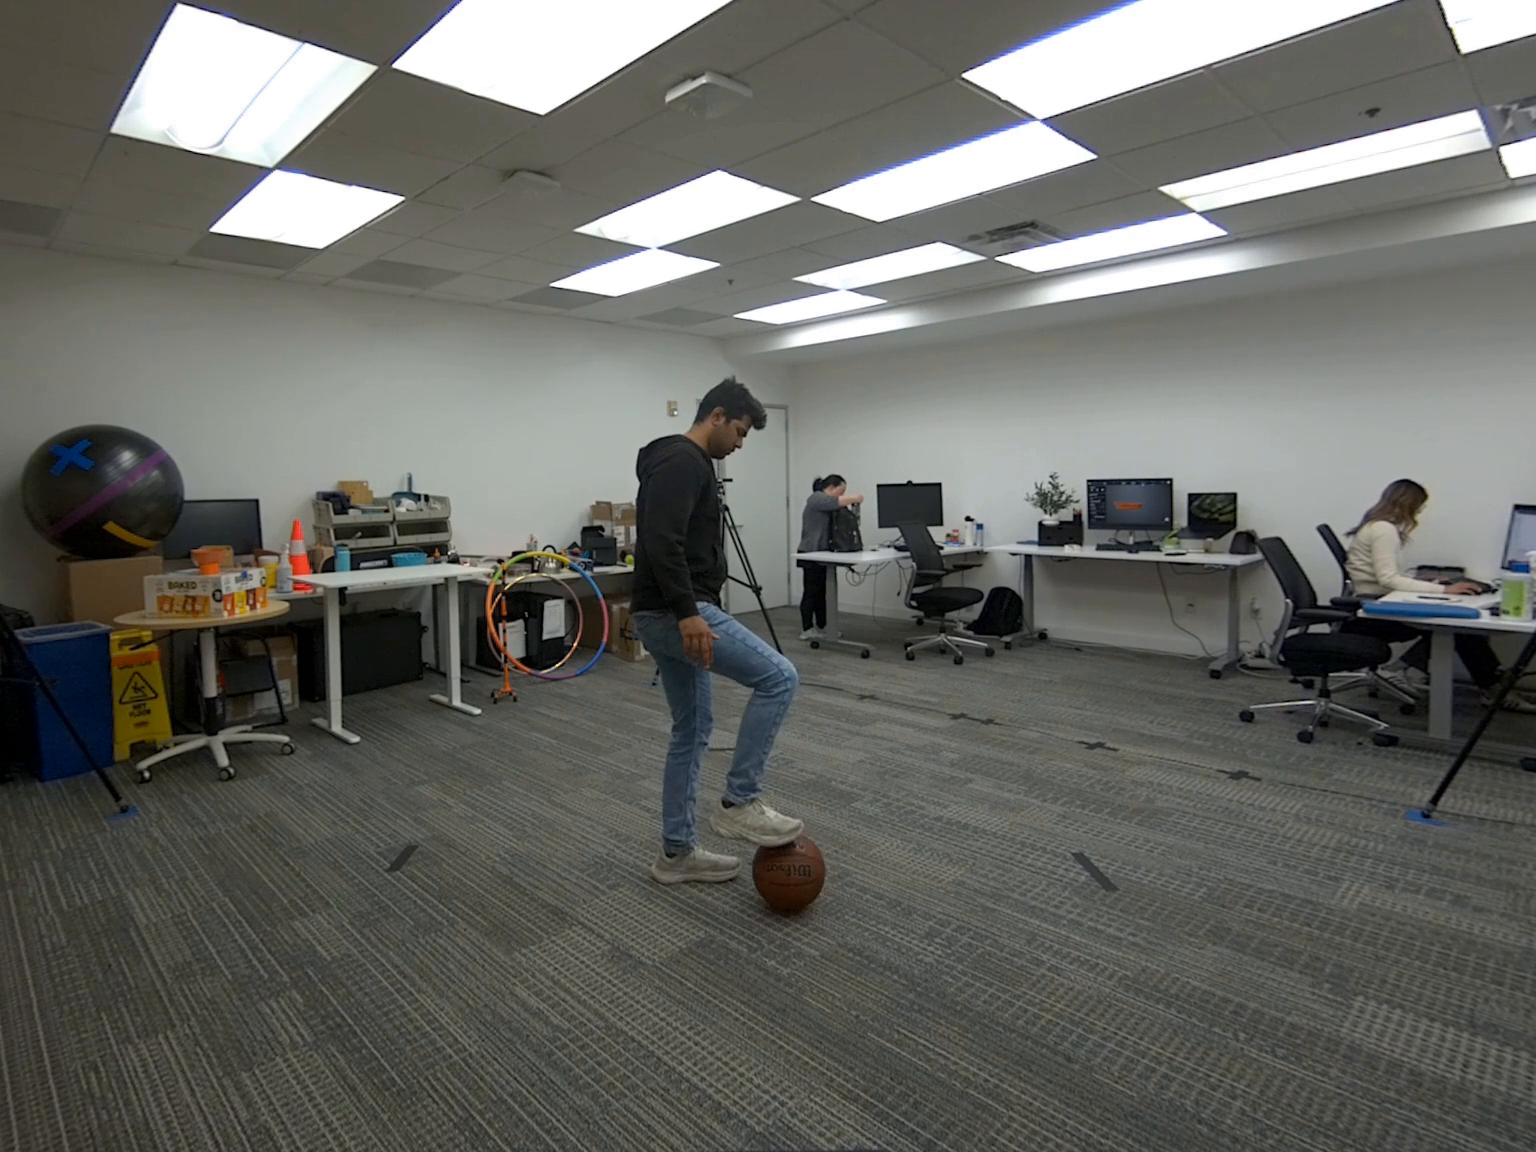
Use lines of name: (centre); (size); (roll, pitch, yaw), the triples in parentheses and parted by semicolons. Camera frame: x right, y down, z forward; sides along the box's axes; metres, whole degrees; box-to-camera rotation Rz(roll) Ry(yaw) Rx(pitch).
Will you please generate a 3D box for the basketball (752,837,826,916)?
basketball: (0.073, 0.958, 2.782); (0.236, 0.235, 0.237); (-1, 5, -2)
